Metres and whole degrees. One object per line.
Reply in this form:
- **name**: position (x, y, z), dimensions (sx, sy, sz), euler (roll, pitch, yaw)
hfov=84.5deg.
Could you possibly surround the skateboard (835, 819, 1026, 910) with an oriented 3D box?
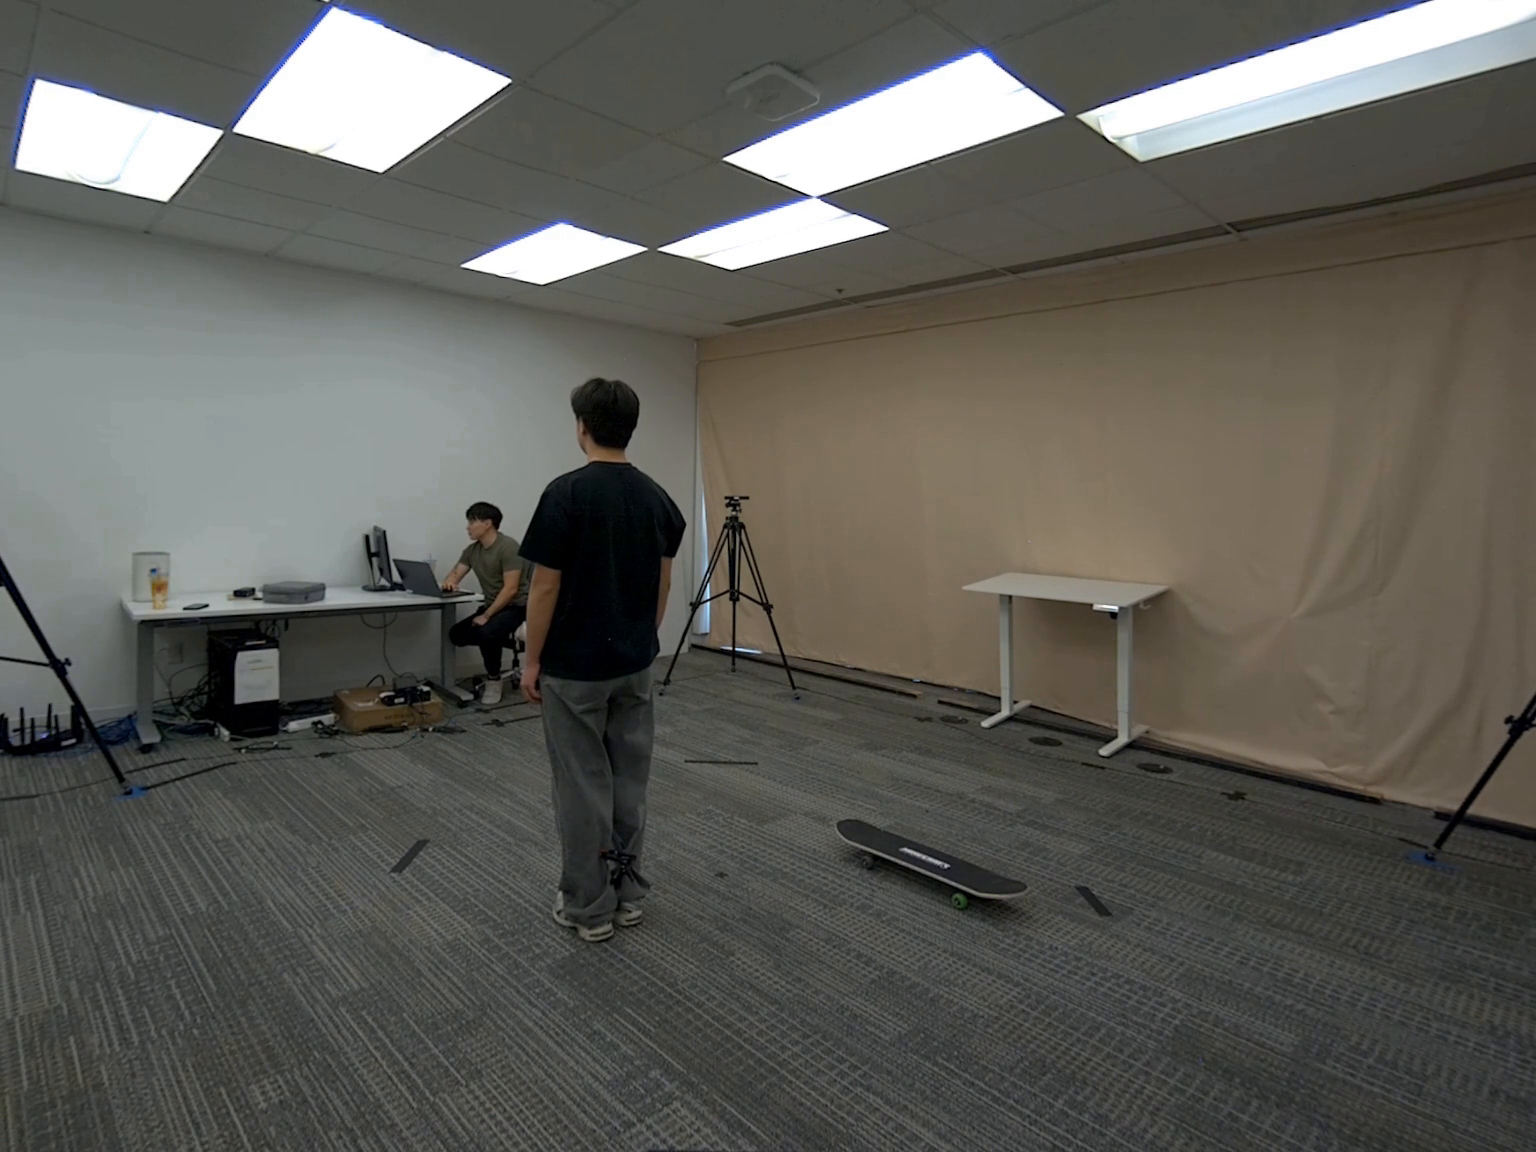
- **skateboard**: position (0.567, 1.069, 3.091), dimensions (0.189, 0.110, 0.806), euler (-2, 7, -44)
